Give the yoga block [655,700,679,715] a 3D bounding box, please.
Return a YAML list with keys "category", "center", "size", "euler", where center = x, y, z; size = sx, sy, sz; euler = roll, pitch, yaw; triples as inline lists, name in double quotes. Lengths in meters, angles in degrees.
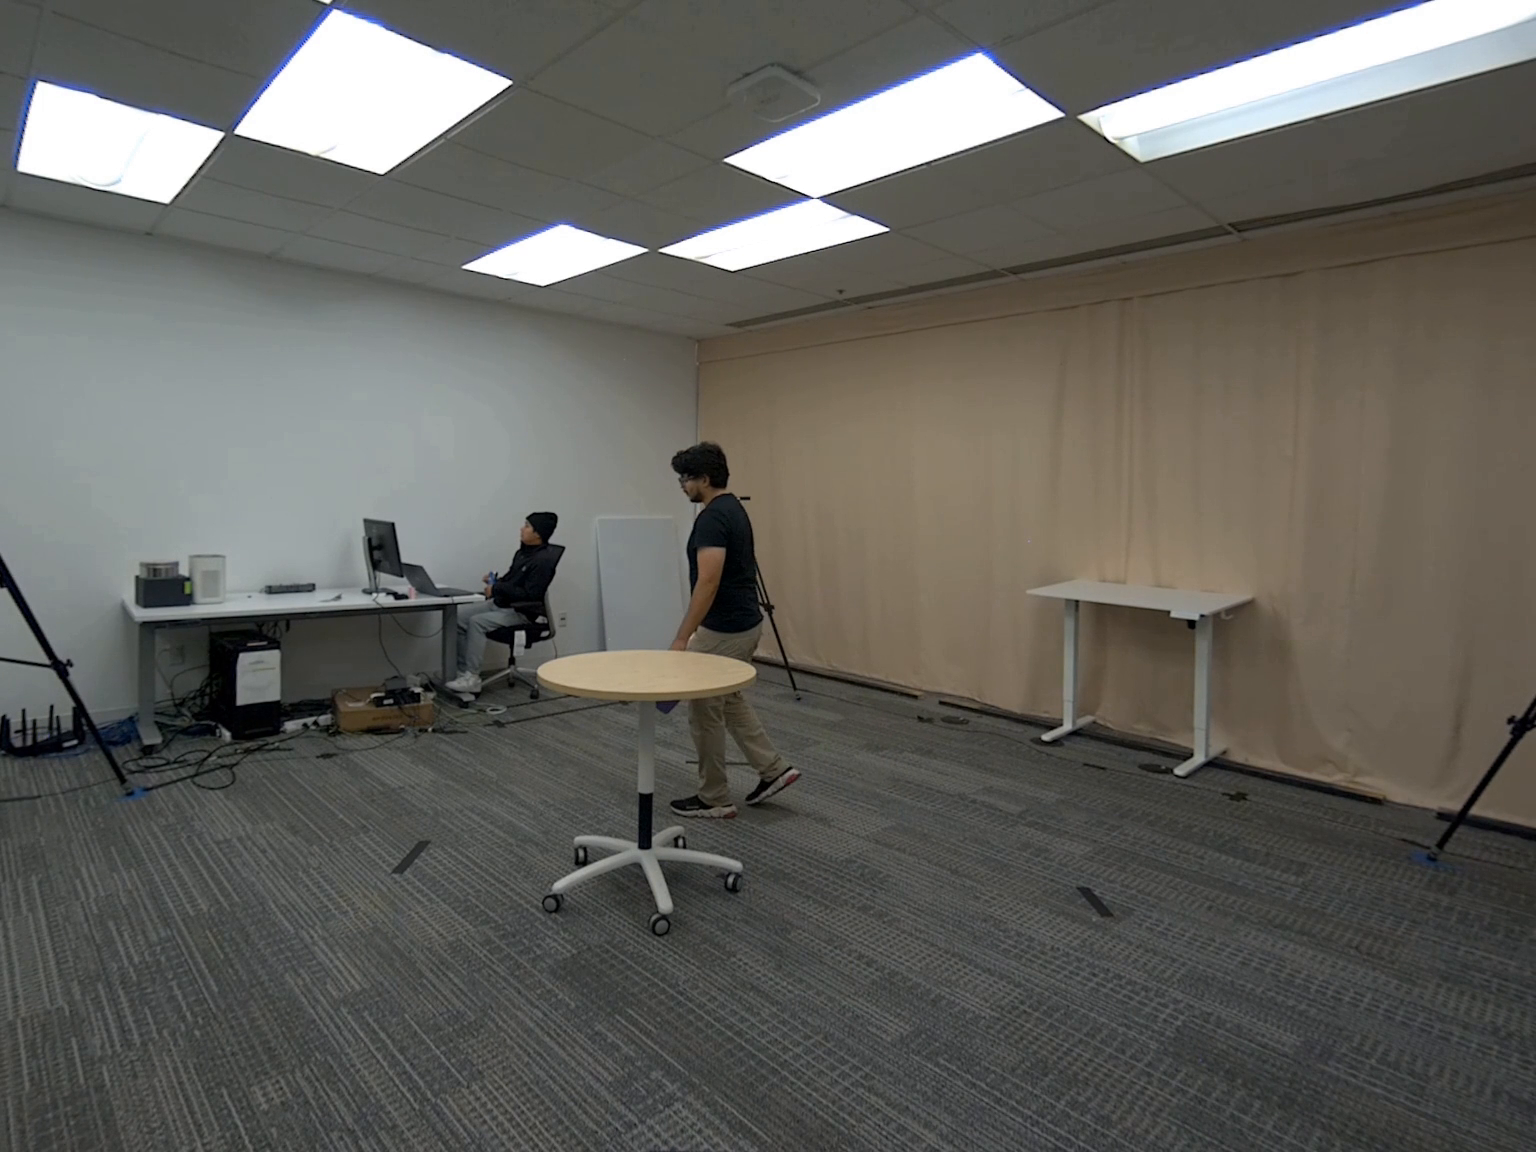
- category: "yoga block"
  center: [-0.414, 0.453, 3.514]
  size: [0.146, 0.229, 0.078]
  euler: [38, 16, -21]
